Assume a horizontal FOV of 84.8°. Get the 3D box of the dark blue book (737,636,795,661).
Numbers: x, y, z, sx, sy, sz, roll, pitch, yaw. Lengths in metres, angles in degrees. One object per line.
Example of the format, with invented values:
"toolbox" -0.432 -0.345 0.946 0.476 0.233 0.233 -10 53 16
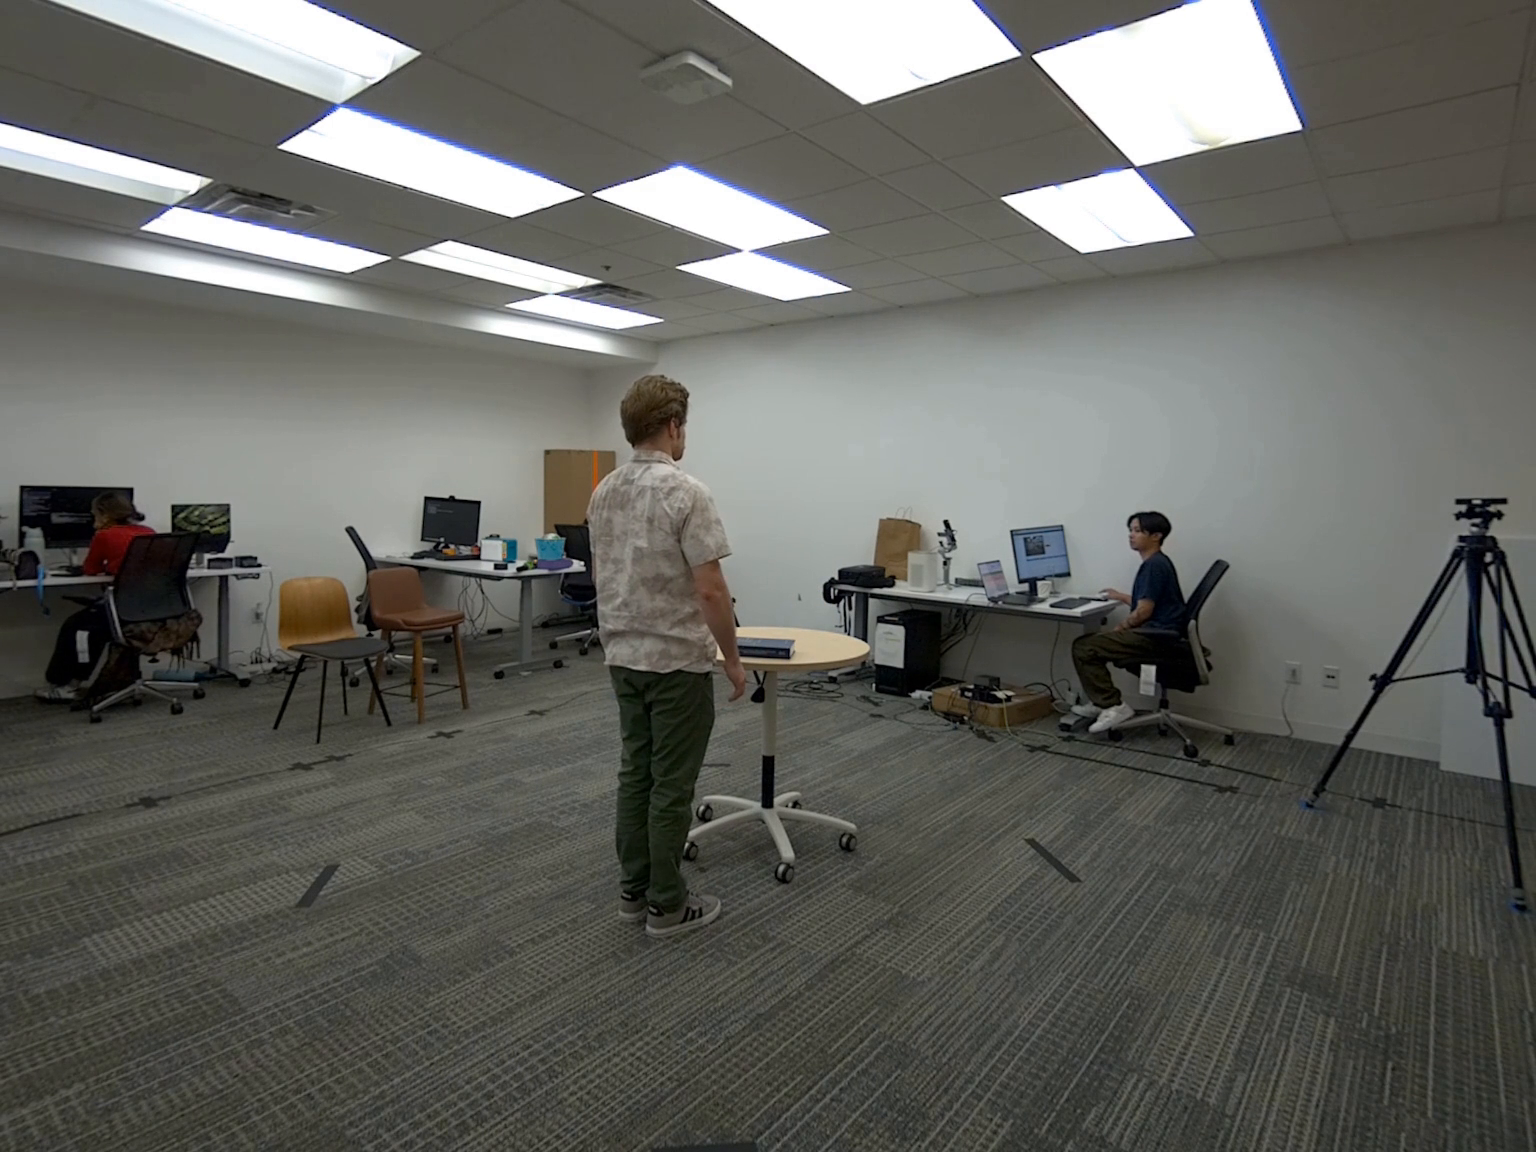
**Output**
"dark blue book" -0.036 0.260 3.120 0.248 0.045 0.162 2 5 11
